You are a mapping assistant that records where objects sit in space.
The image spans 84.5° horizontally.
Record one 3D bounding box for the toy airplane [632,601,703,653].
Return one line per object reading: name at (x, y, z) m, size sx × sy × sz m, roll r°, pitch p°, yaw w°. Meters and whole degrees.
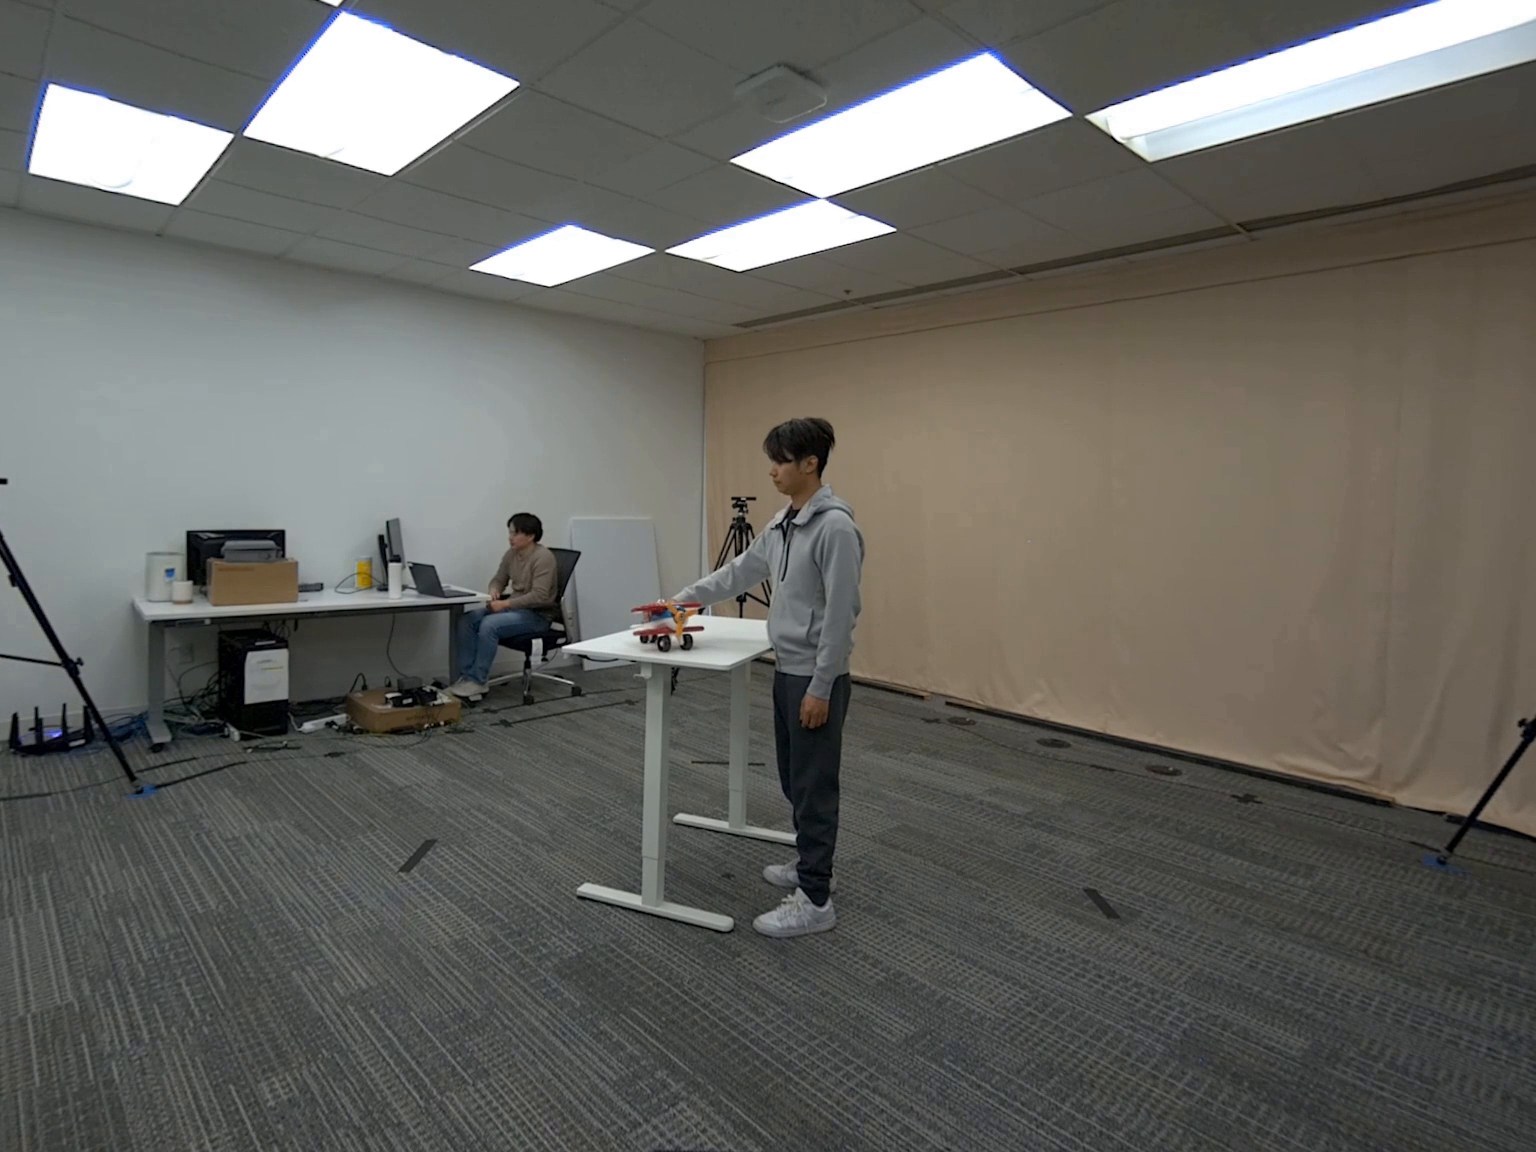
toy airplane at (-0.370, 0.164, 2.836) m, size 0.264 × 0.156 × 0.247 m, roll 4°, pitch 5°, yaw 26°
